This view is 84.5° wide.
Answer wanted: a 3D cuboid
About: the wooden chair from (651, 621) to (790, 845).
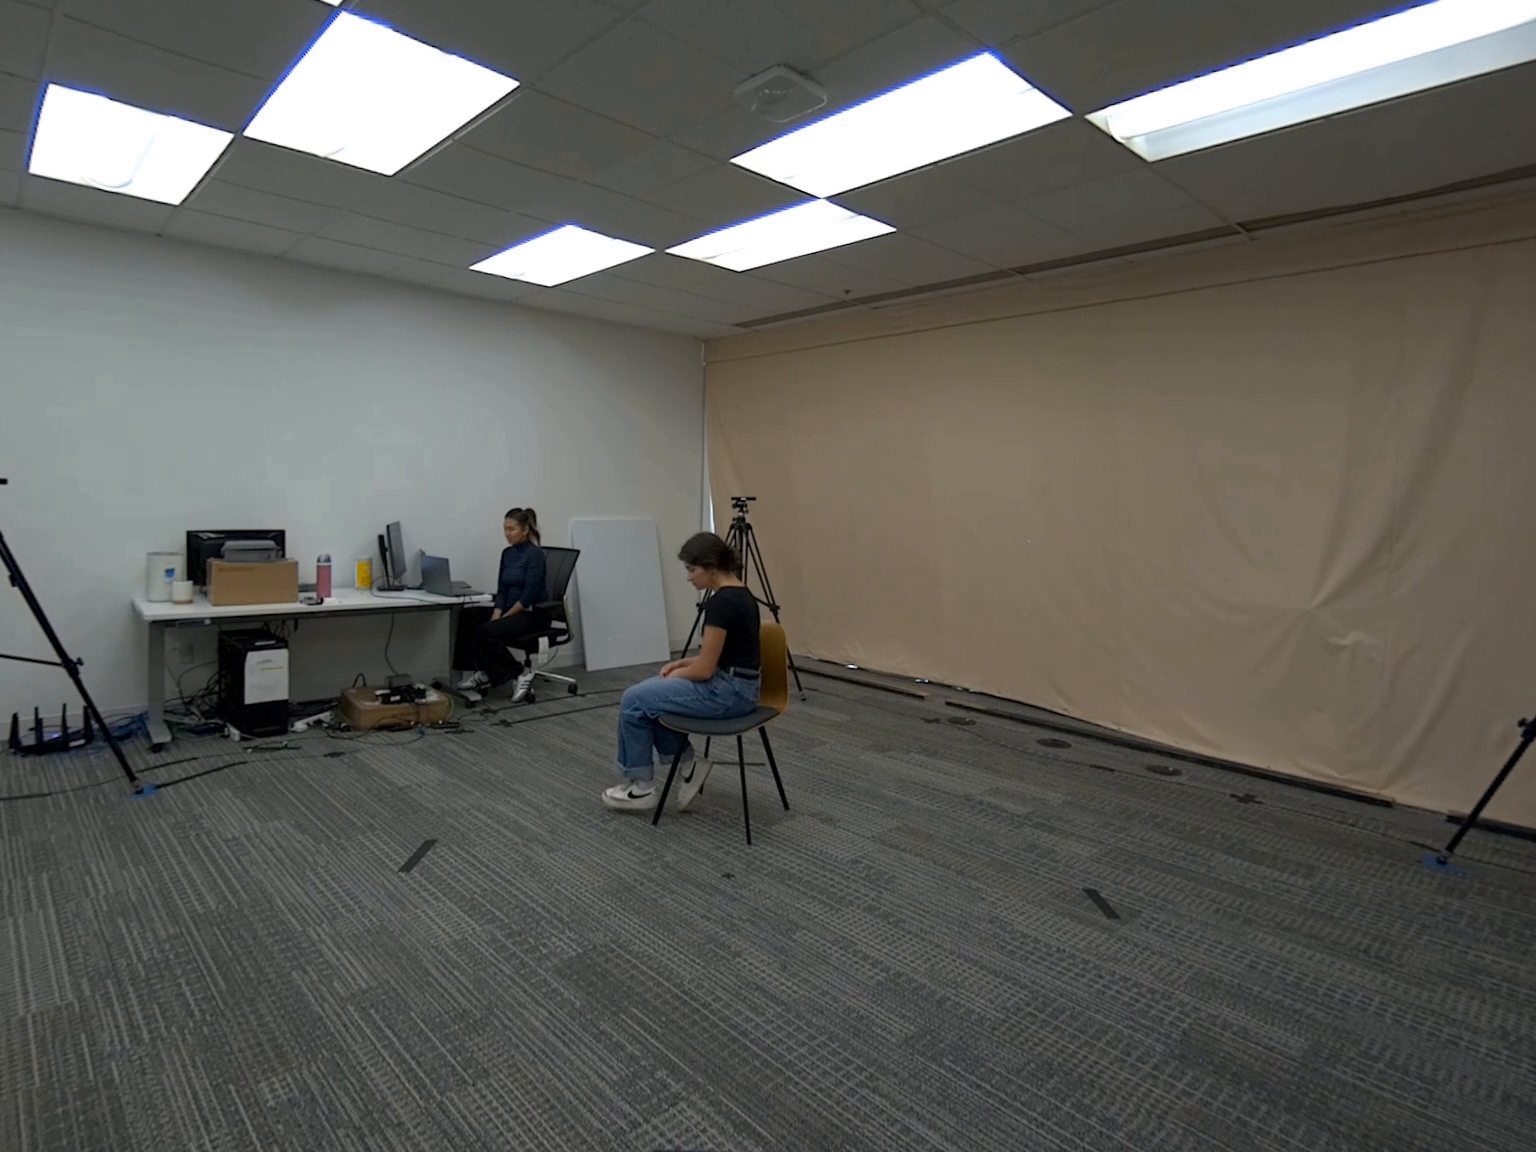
[{"bbox_3d":[-0.191,0.635,3.649,0.486,0.878,0.513,1,-1,23],"label":"wooden chair"}]
